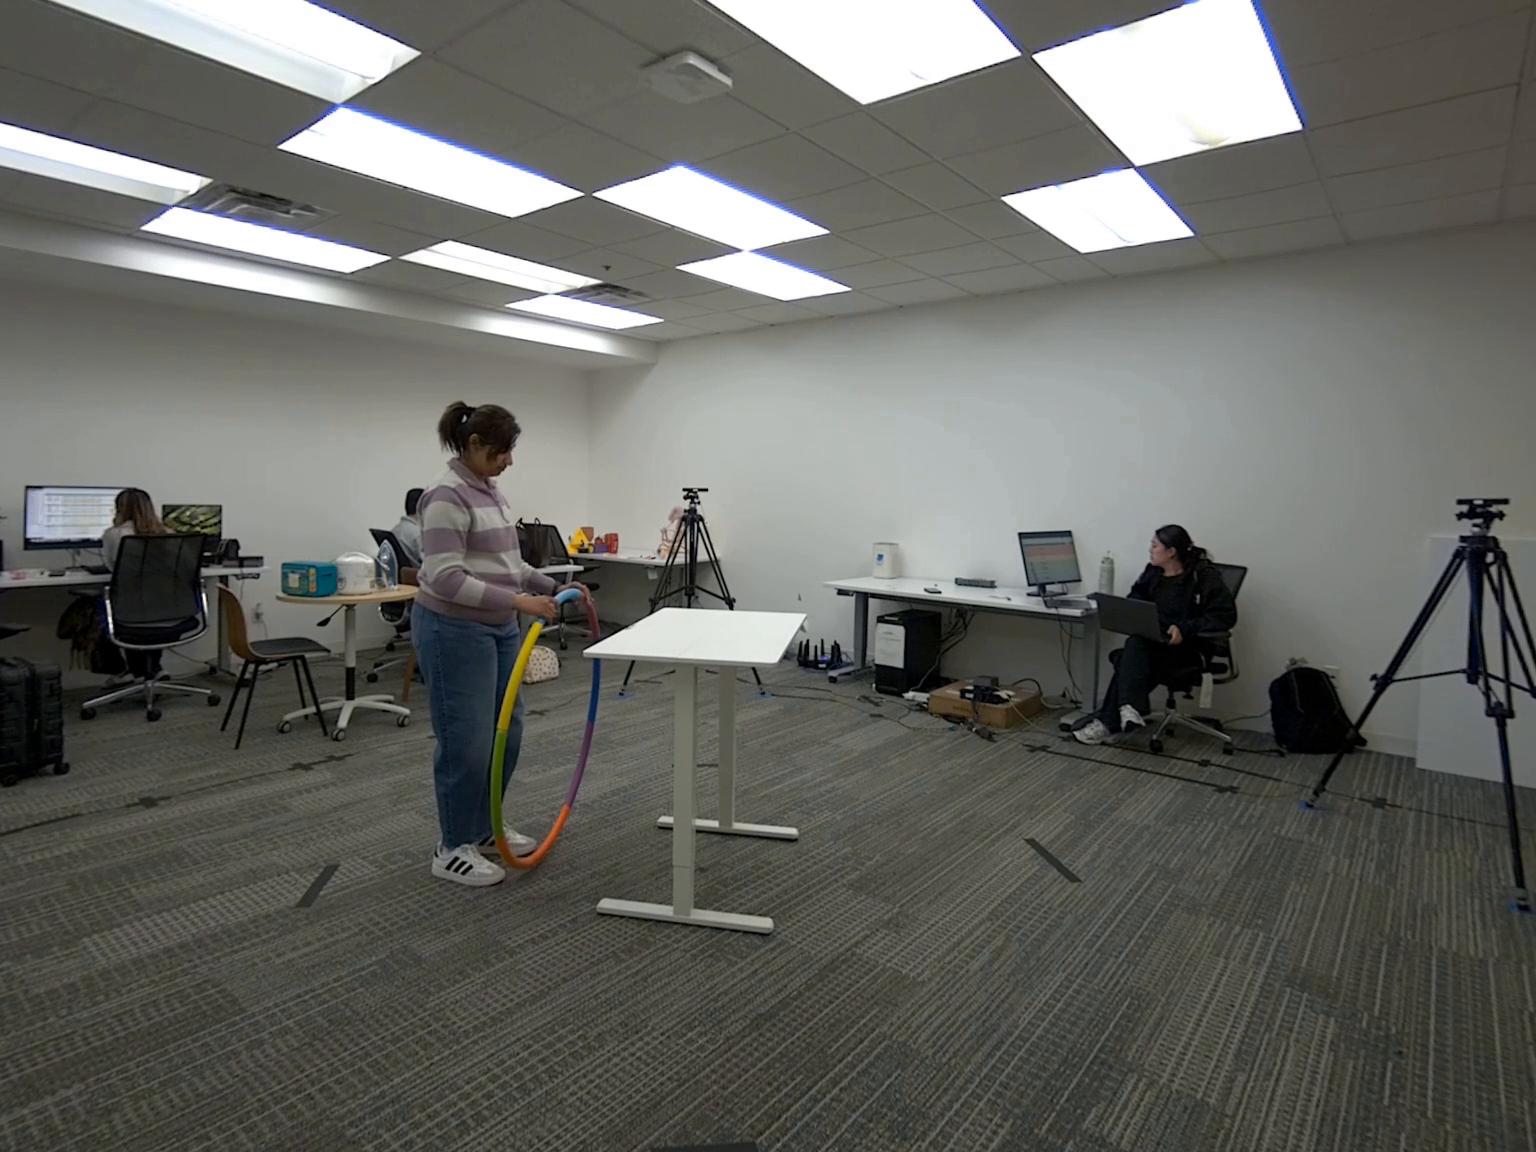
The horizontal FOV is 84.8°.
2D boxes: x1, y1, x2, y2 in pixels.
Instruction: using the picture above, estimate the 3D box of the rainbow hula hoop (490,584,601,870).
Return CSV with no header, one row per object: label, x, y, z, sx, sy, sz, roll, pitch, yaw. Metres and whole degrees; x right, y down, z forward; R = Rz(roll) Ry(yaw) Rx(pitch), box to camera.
rainbow hula hoop,-0.790,0.549,3.114,0.036,0.975,0.973,8,5,6
